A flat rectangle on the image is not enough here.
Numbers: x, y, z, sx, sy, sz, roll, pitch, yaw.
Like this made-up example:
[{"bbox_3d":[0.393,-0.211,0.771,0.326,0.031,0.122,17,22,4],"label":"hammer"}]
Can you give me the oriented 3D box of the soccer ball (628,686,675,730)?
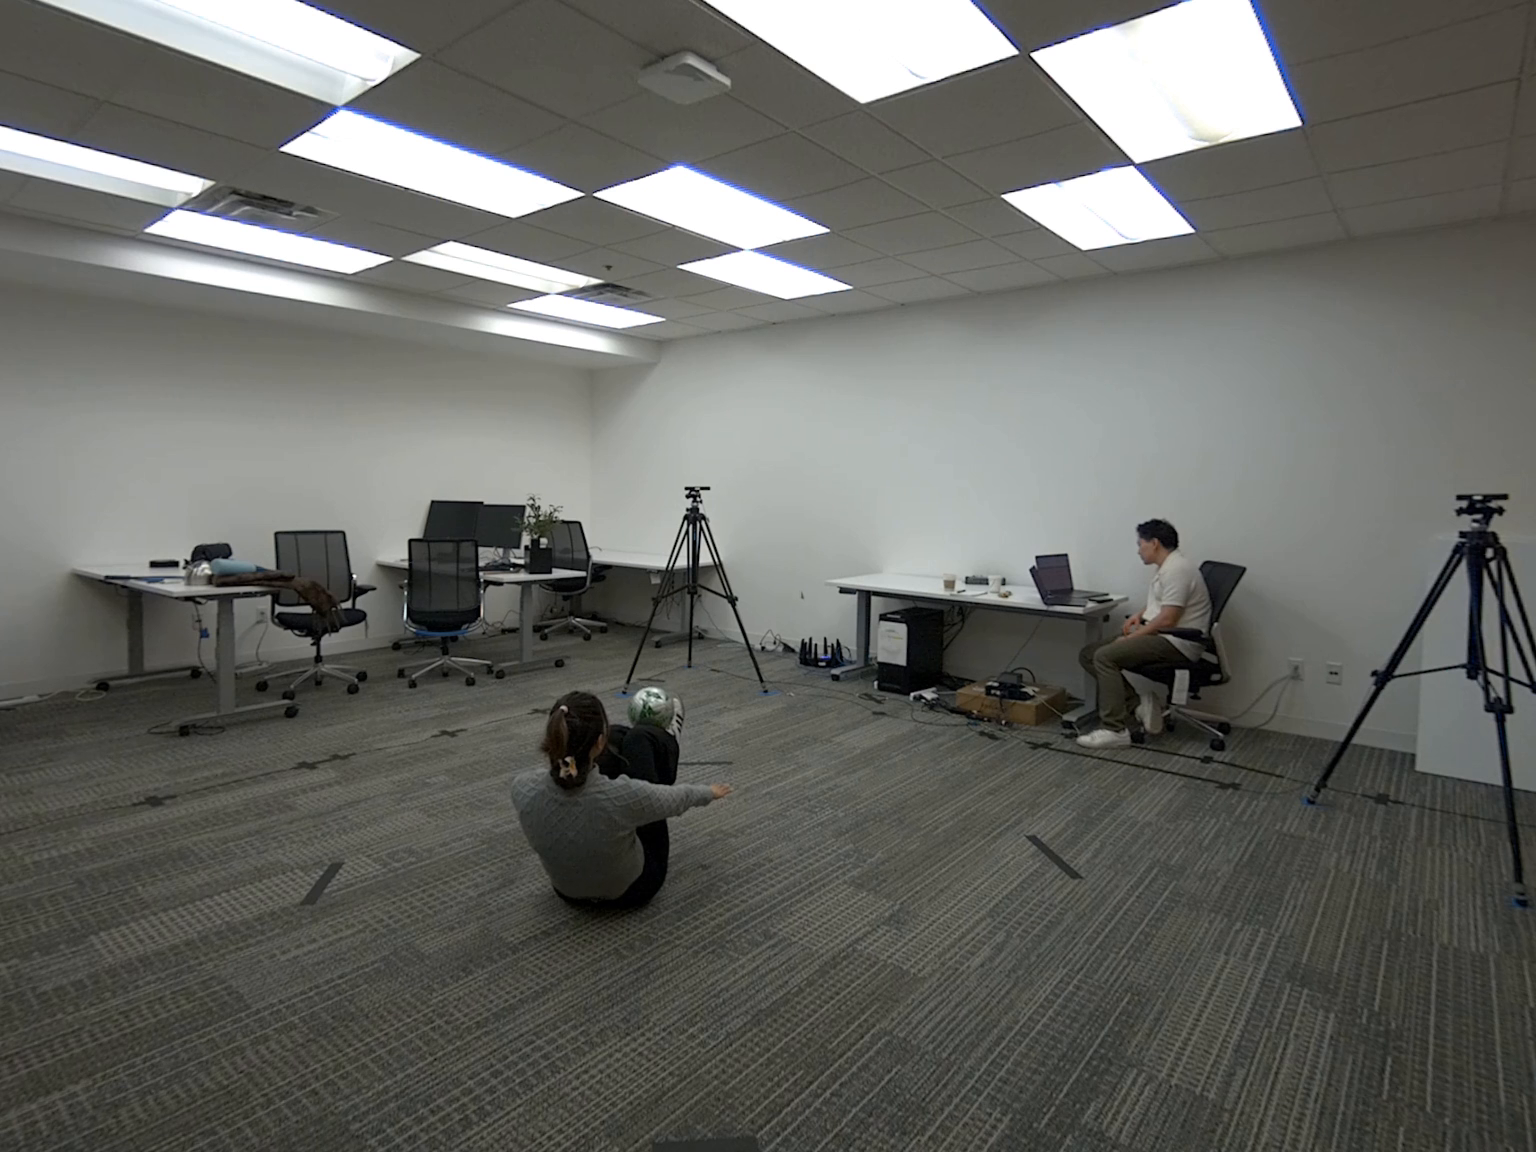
[{"bbox_3d":[-0.476,0.535,3.380,0.187,0.187,0.188,0,4,-2],"label":"soccer ball"}]
